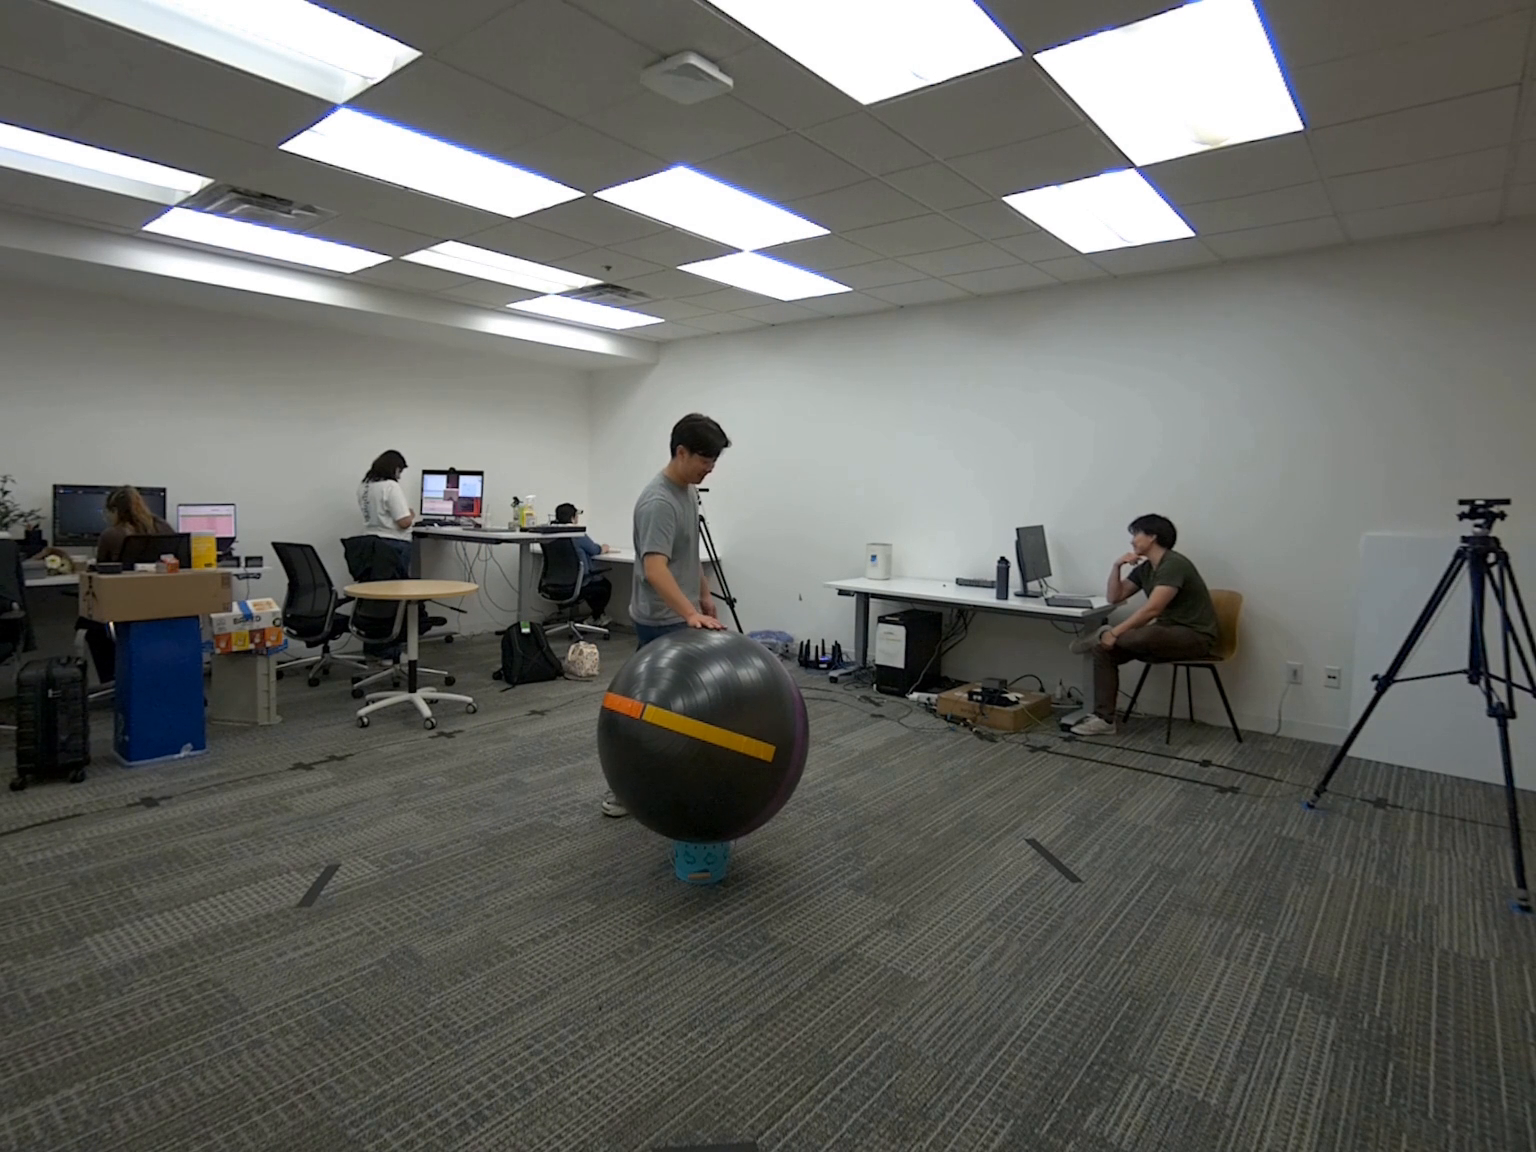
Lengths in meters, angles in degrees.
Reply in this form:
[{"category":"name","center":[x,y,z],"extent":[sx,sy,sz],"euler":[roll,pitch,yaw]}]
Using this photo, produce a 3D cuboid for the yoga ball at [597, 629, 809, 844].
[{"category":"yoga ball","center":[-0.247,0.563,3.061],"extent":[0.757,0.755,0.762],"euler":[1,4,-2]}]
